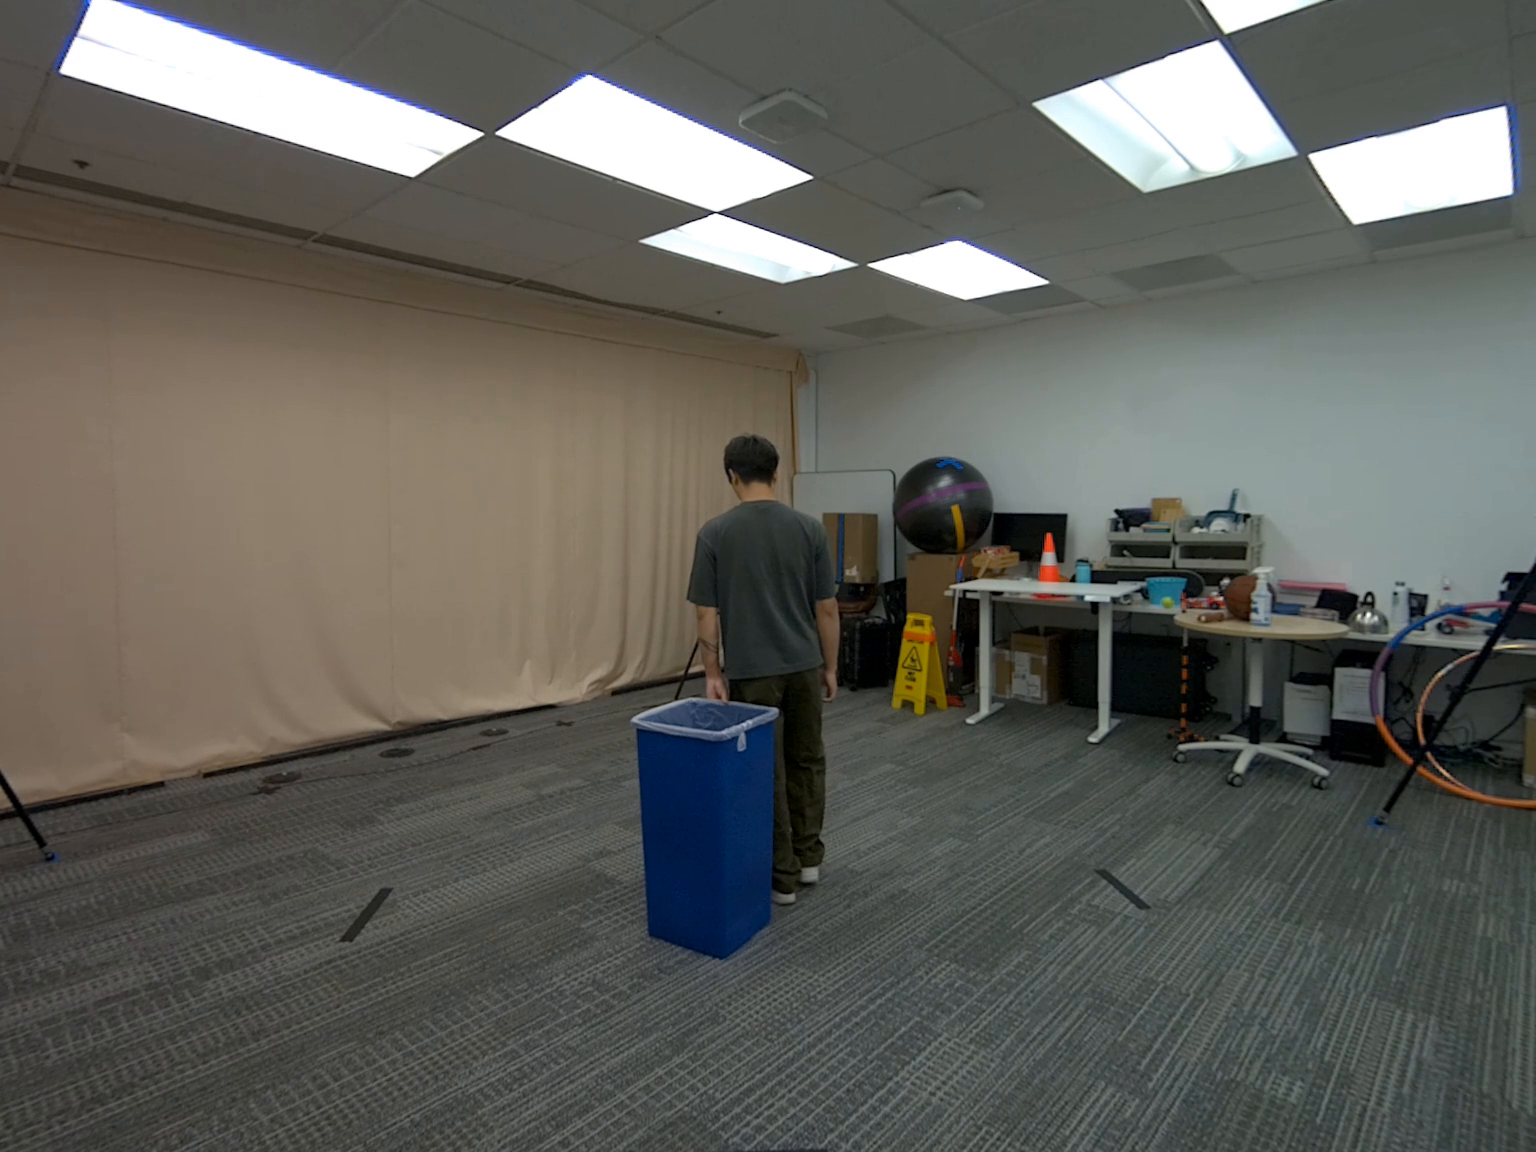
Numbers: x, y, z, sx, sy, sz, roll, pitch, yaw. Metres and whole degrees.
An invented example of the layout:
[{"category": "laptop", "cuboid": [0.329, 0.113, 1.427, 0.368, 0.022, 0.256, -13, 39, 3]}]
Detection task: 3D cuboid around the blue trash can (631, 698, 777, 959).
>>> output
[{"category": "blue trash can", "cuboid": [-0.204, 0.807, 2.763, 0.385, 0.712, 0.368, 2, 4, 31]}]
